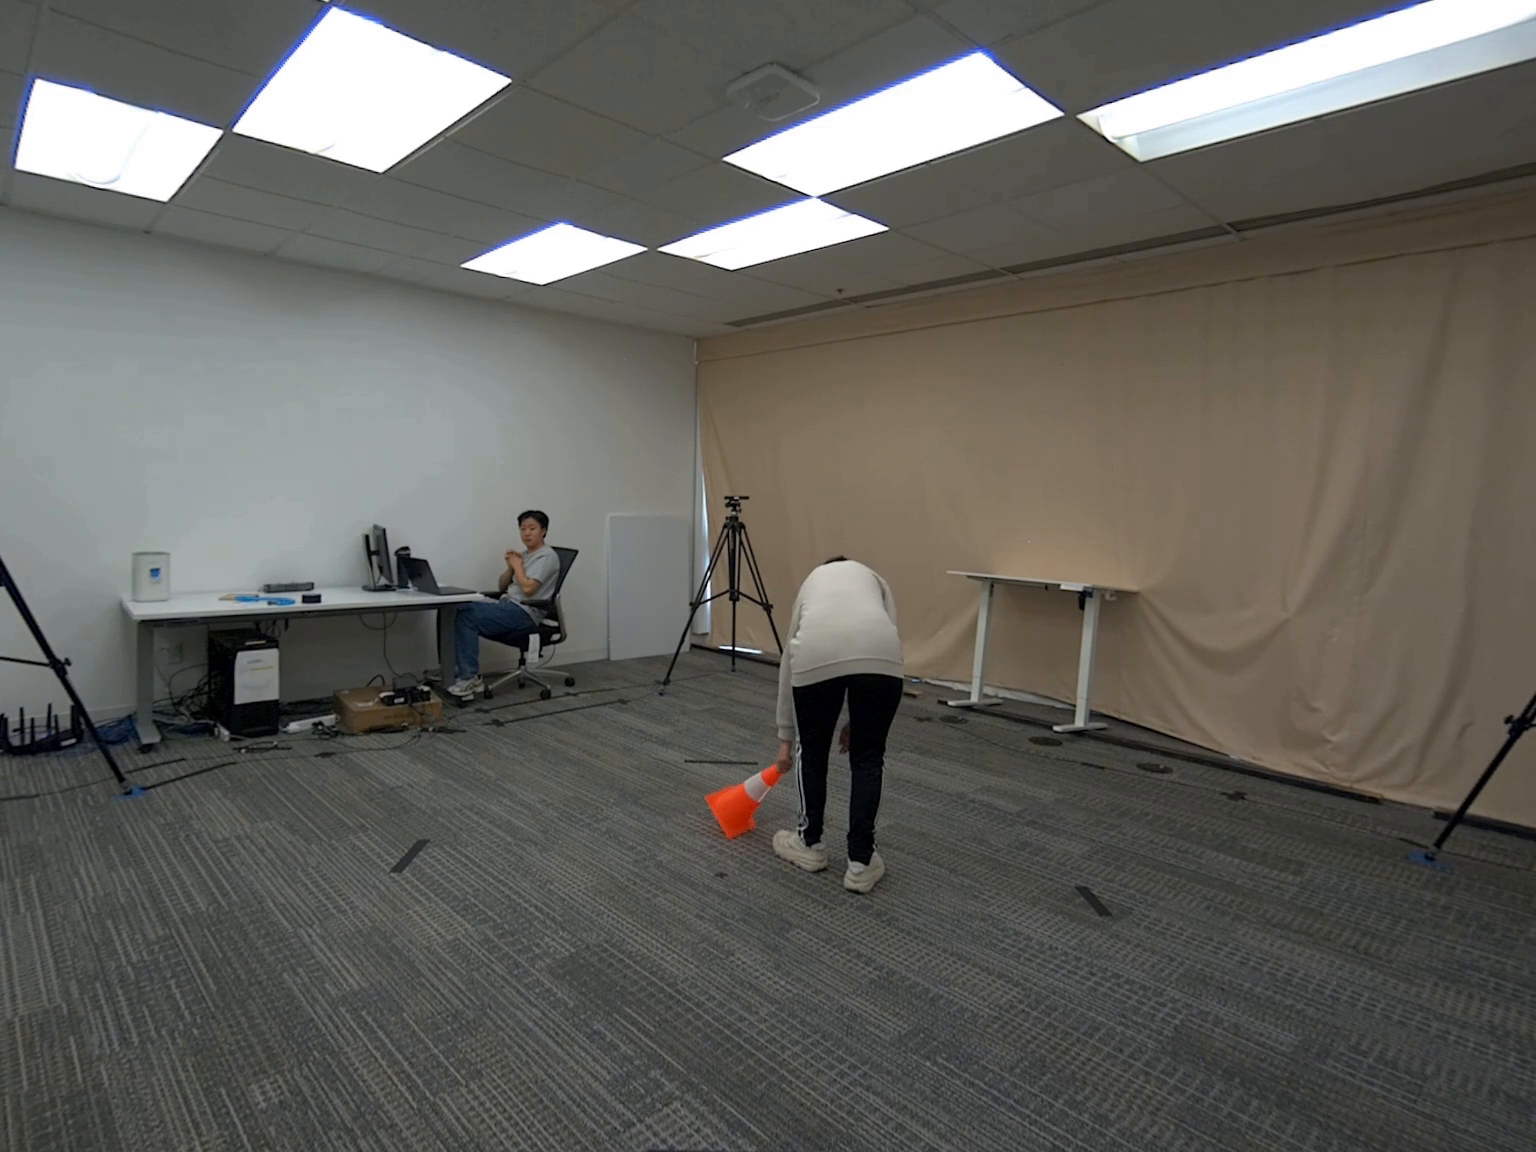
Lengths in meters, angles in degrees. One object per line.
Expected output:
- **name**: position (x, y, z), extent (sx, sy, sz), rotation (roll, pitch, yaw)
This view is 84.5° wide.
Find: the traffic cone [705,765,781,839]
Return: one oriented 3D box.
- **traffic cone**: position (-0.046, 0.873, 3.458), extent (0.384, 0.208, 0.200), rotation (-45, -24, 25)
